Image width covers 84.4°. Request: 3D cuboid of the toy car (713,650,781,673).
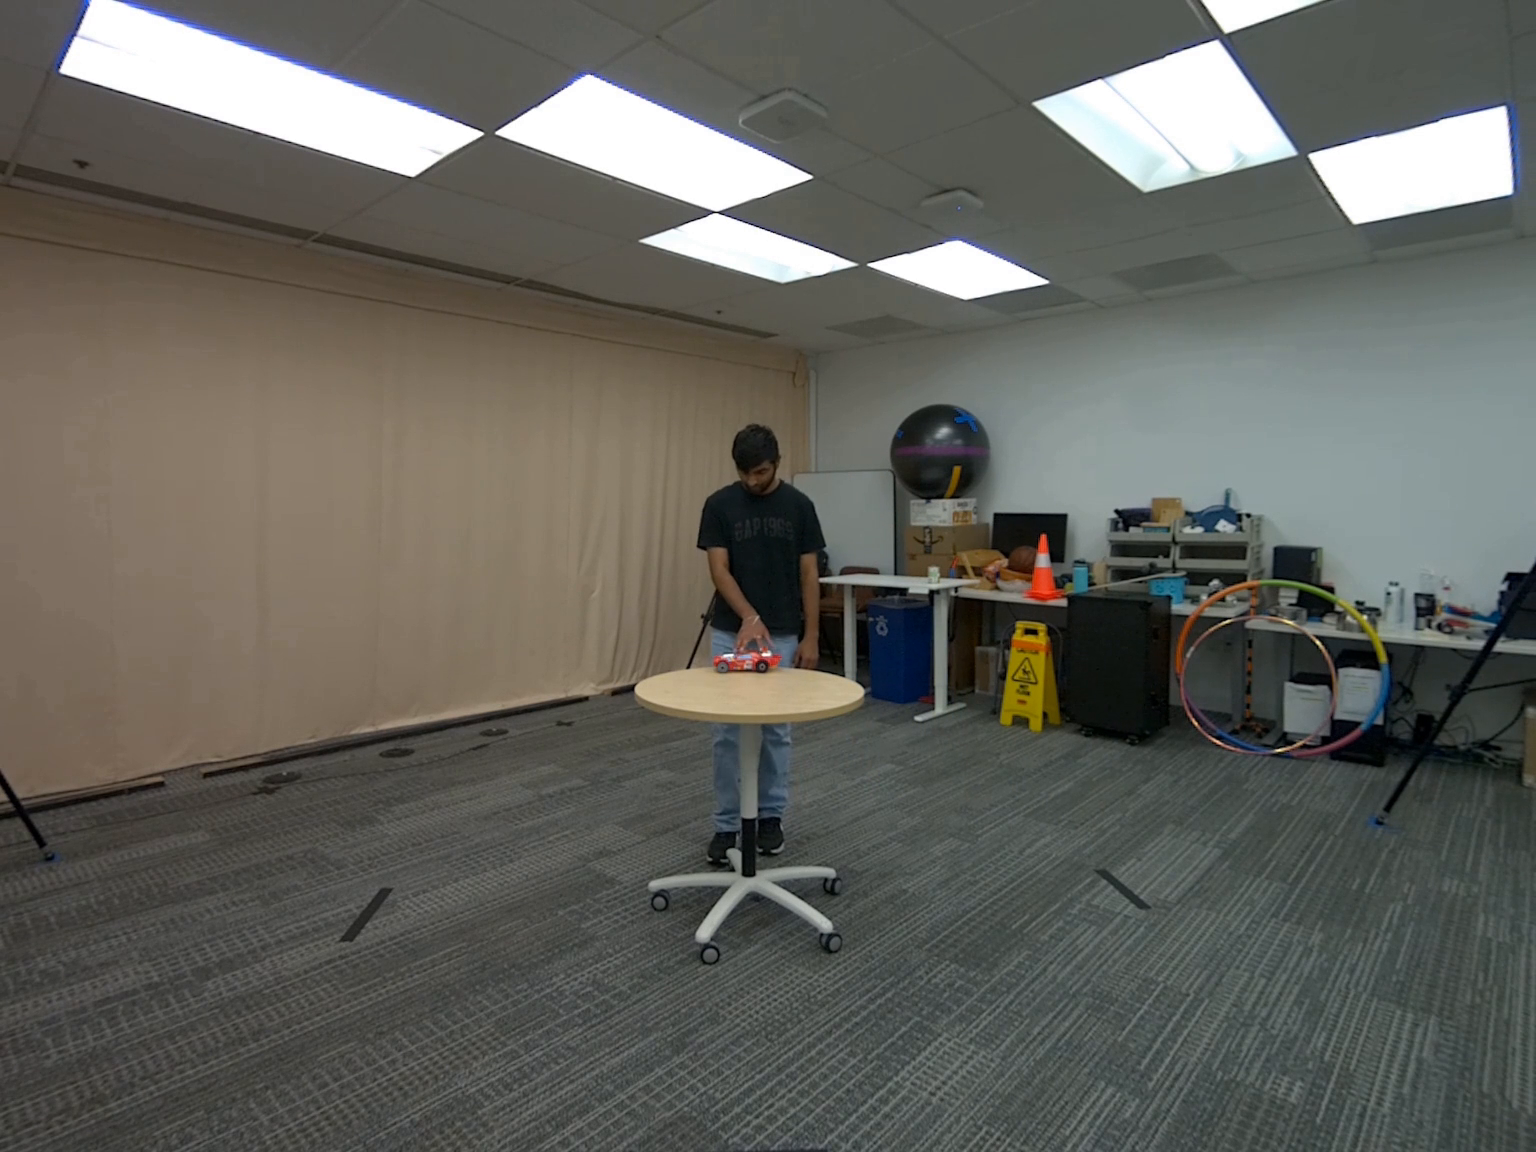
[{"bbox_3d":[-0.068,0.319,3.127,0.254,0.083,0.131,-11,5,0],"label":"toy car"}]
